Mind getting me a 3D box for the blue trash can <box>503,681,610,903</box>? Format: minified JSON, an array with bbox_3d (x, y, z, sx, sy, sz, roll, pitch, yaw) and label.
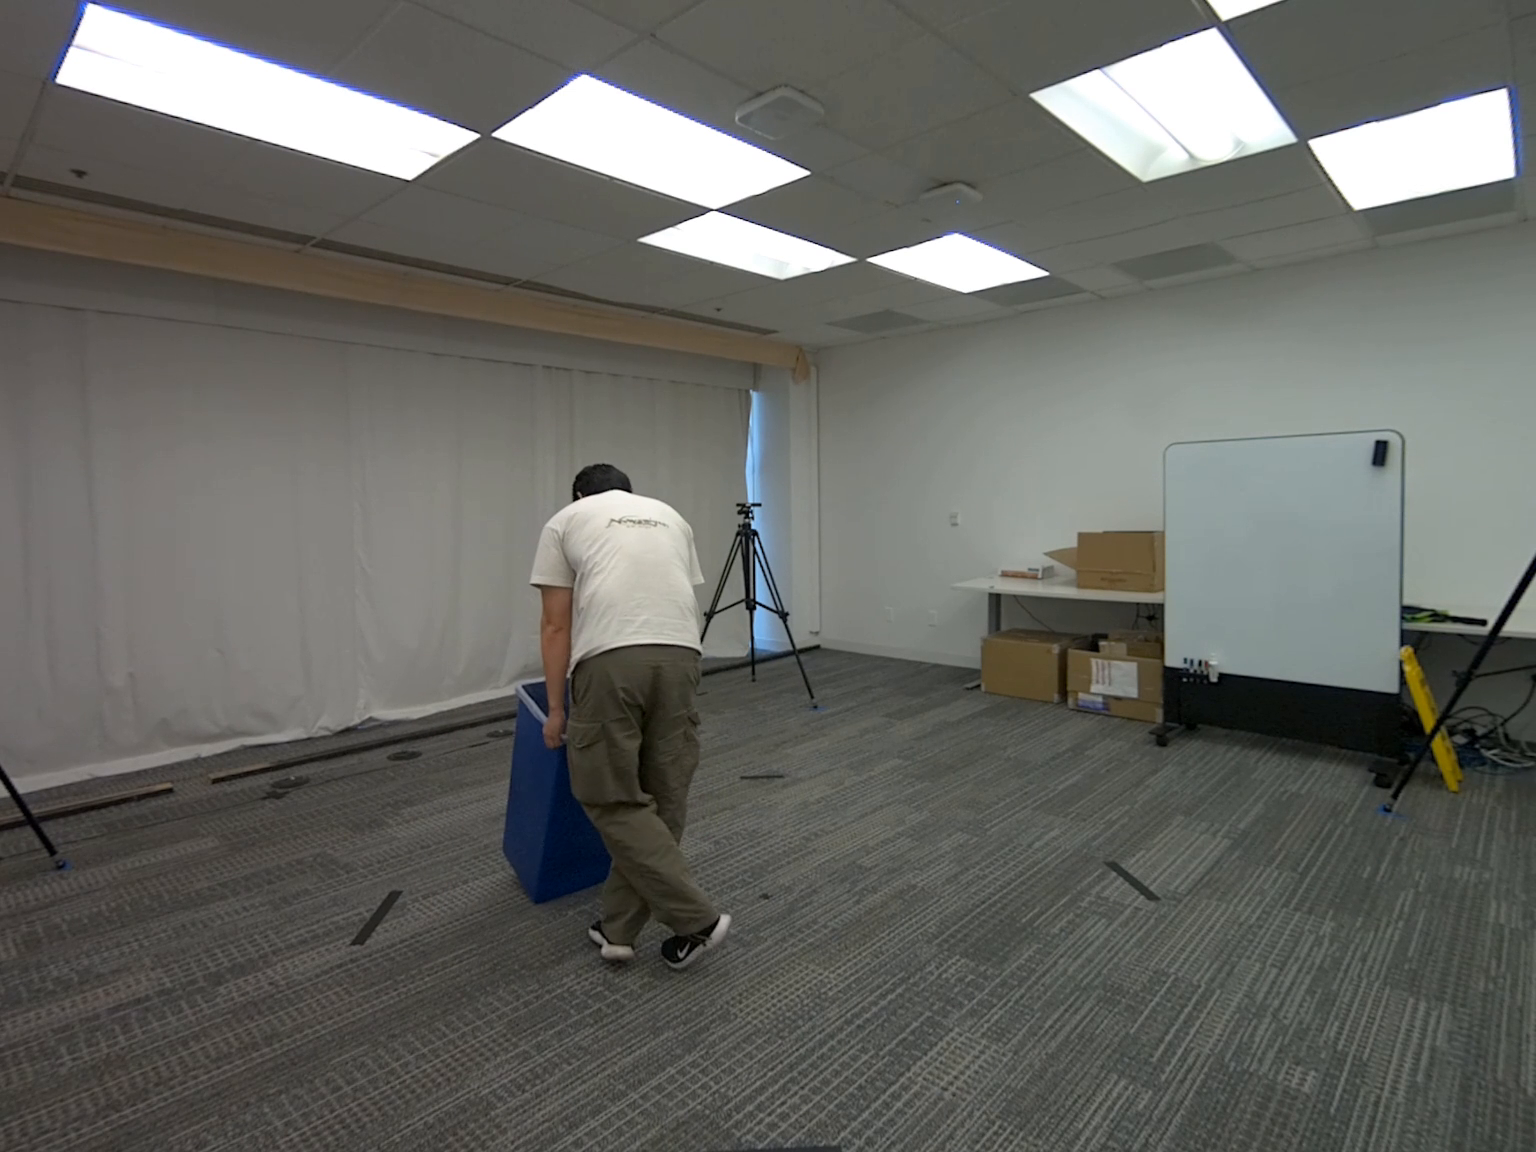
[{"bbox_3d":[-0.724,0.759,3.042,0.366,0.709,0.388,-3,26,-41],"label":"blue trash can"}]
